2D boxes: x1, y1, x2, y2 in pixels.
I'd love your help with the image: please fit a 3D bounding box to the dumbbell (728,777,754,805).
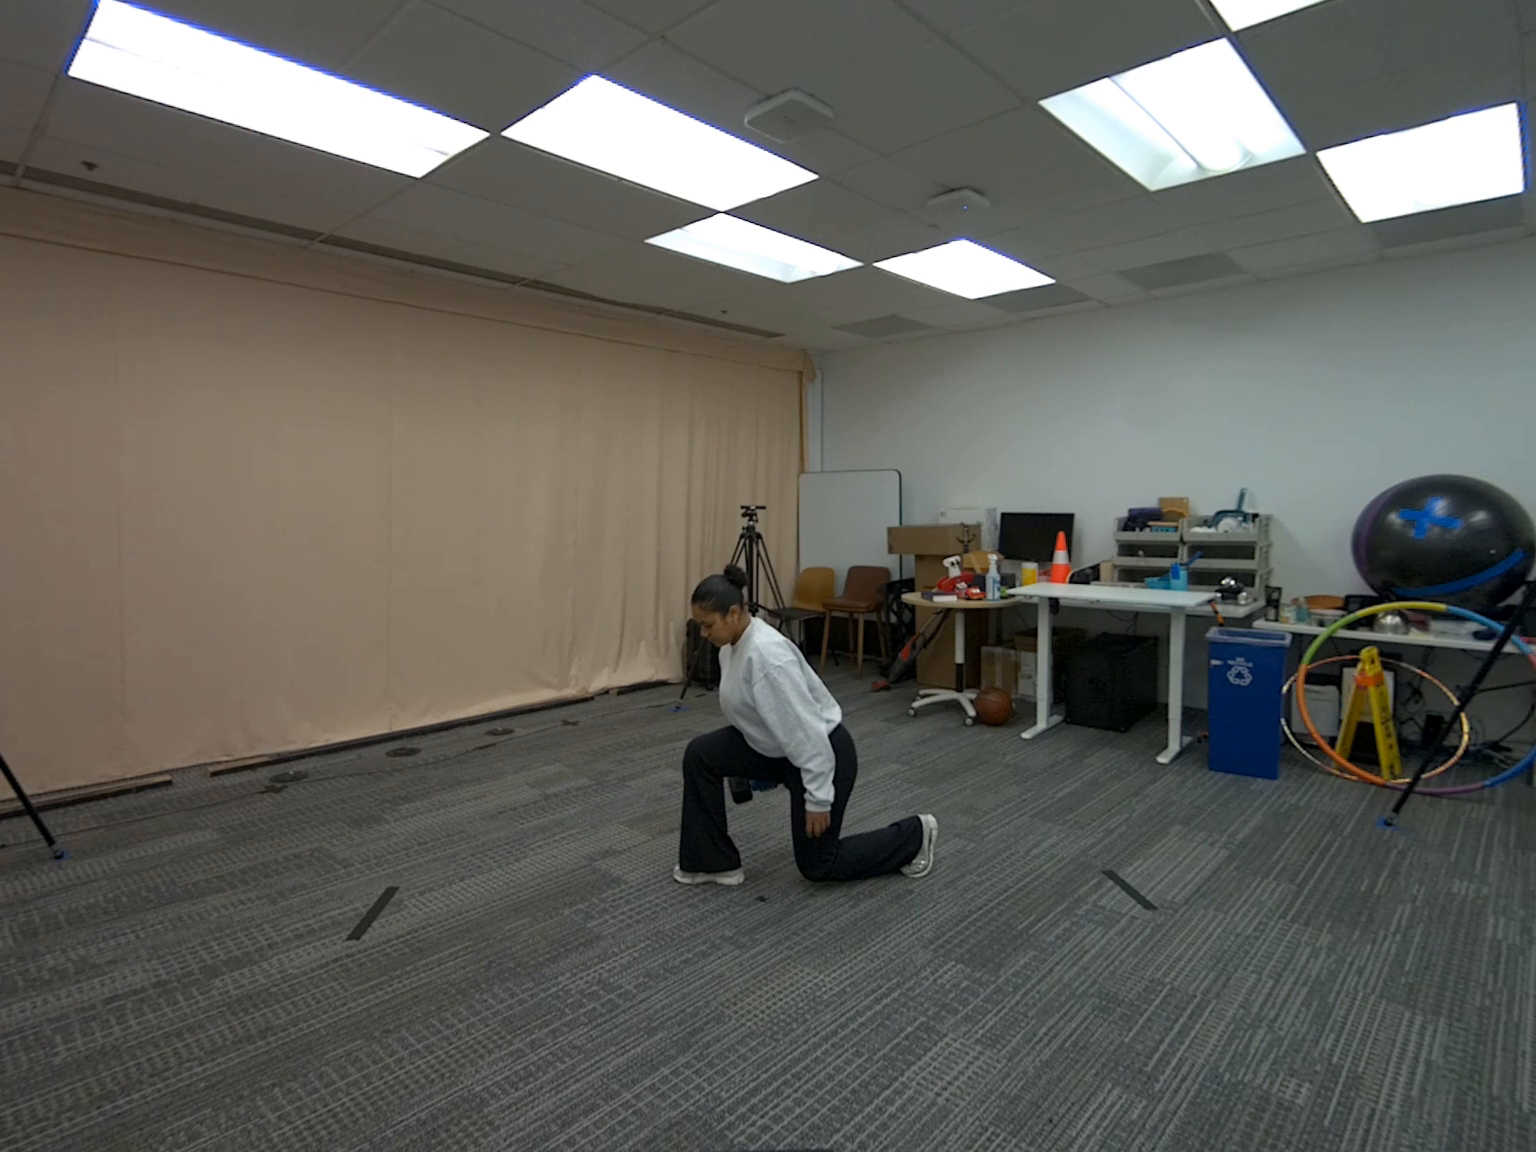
[{"bbox_3d":[-0.007,0.805,3.333,0.291,0.121,0.111,-14,25,-8],"label":"dumbbell"}]
